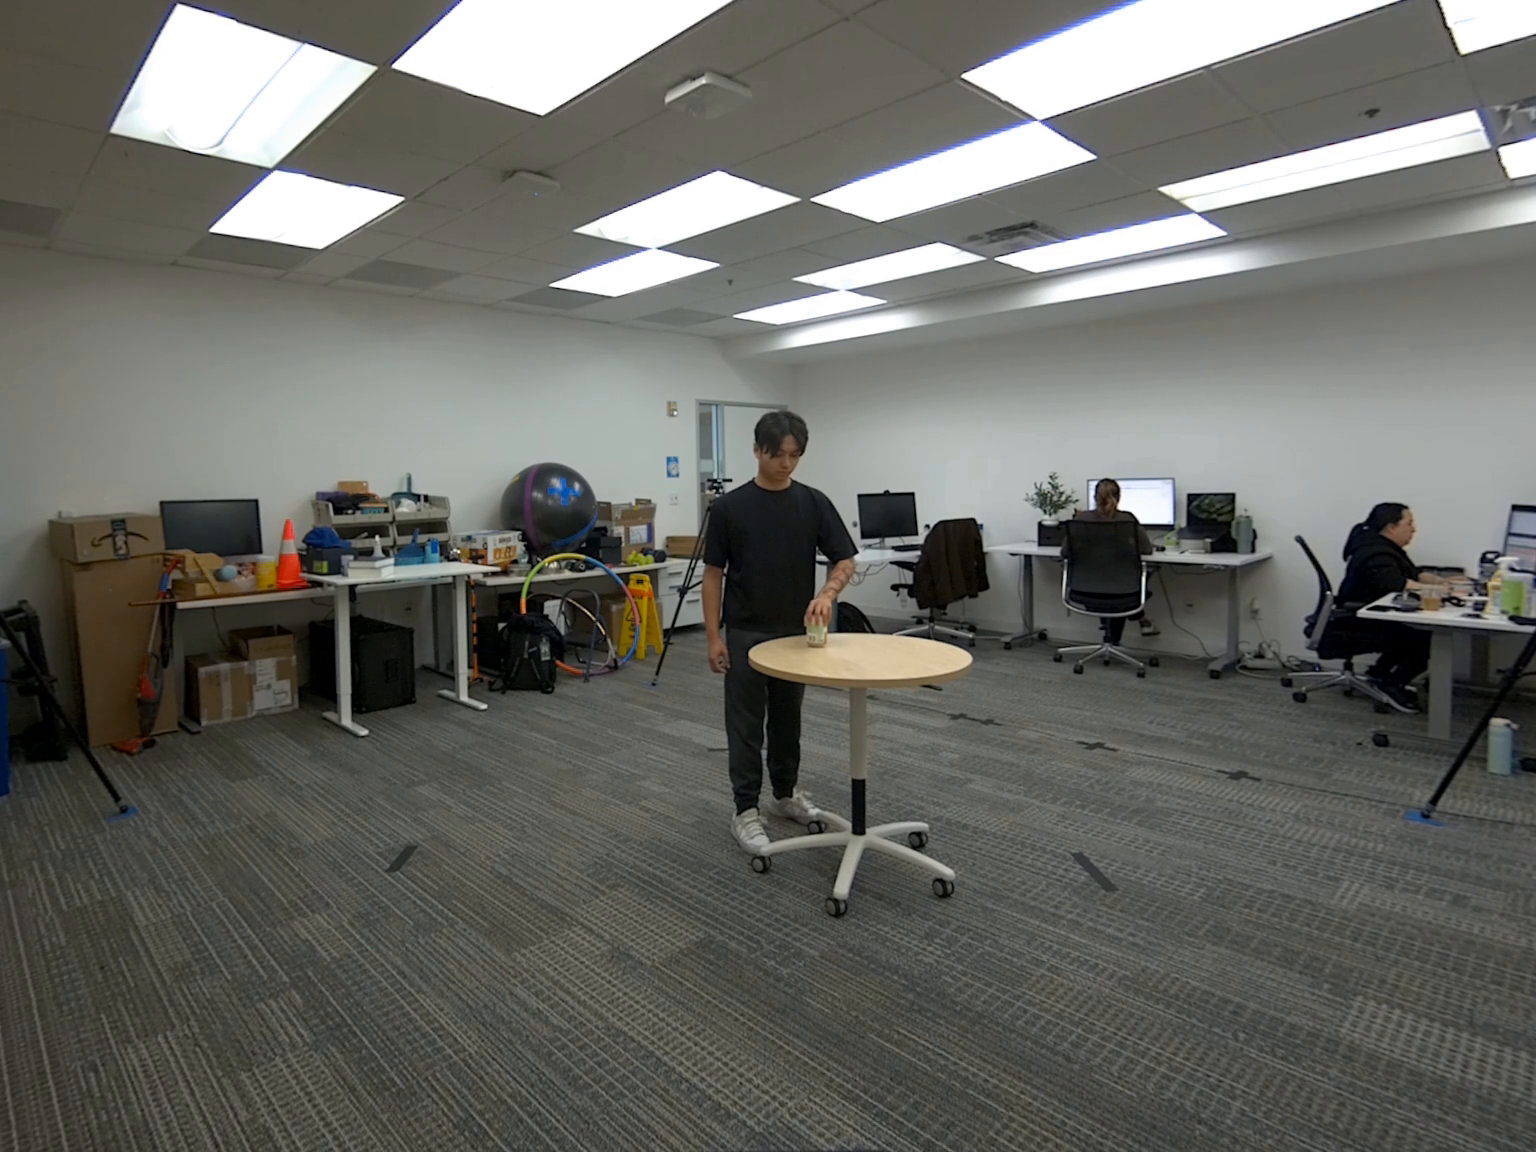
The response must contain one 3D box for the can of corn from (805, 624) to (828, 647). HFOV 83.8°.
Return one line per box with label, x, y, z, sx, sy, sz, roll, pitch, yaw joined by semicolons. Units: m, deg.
can of corn;0.175;0.194;3.105;0.074;0.111;0.074;-2;2;-2
